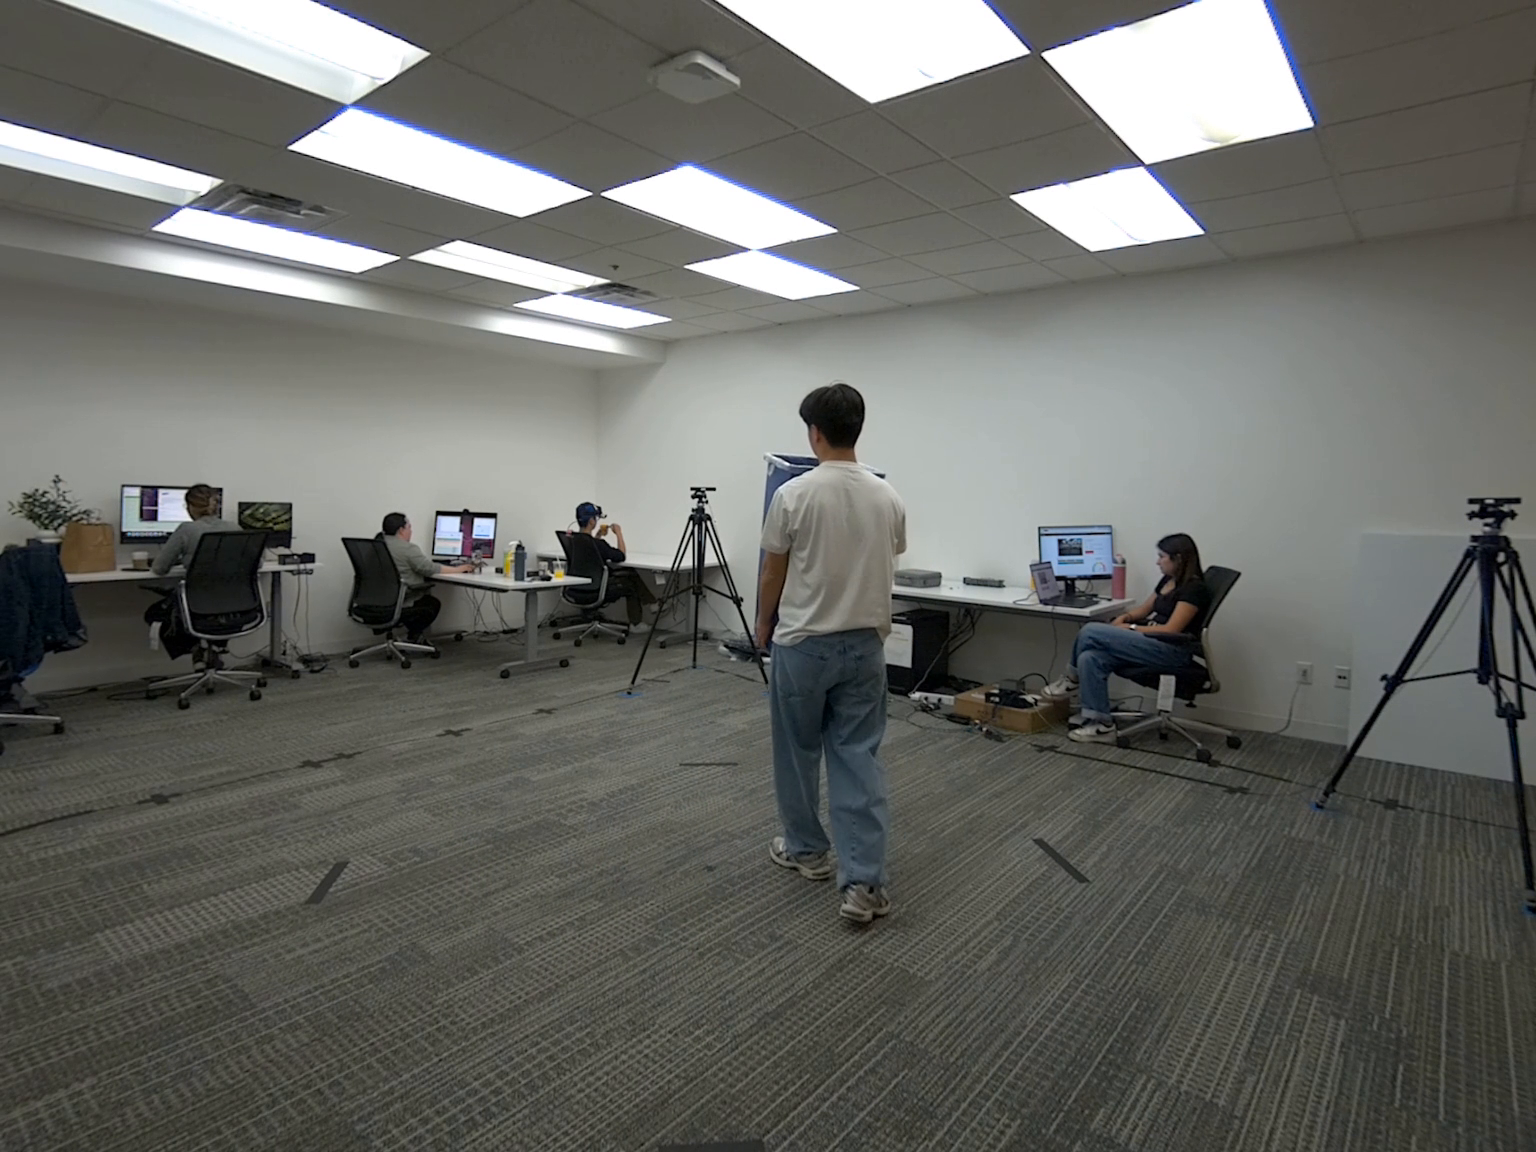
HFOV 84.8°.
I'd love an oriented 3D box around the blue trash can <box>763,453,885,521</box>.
[{"bbox_3d":[0.161,-0.089,3.208,0.368,0.707,0.388,2,12,-15],"label":"blue trash can"}]
